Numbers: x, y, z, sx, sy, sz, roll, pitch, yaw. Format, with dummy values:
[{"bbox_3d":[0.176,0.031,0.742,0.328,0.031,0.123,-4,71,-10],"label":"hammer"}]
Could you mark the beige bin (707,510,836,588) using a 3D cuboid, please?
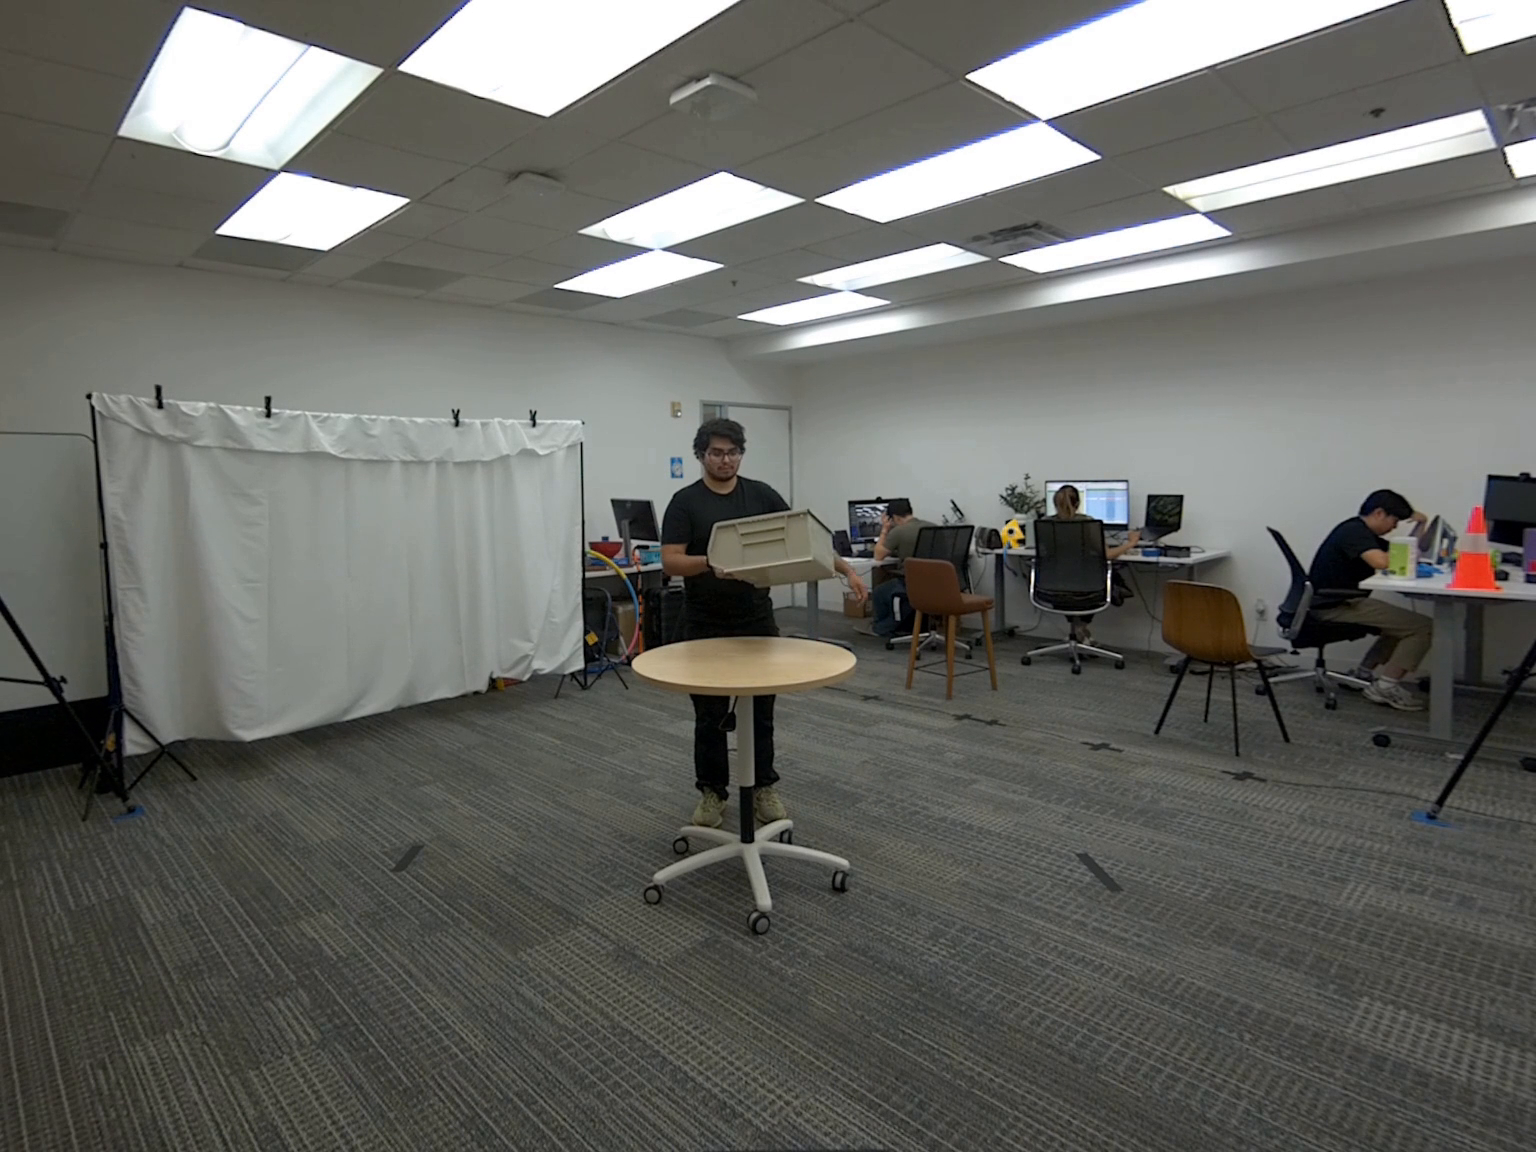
[{"bbox_3d":[0.026,-0.083,3.117,0.382,0.191,0.412,-8,-11,15],"label":"beige bin"}]
